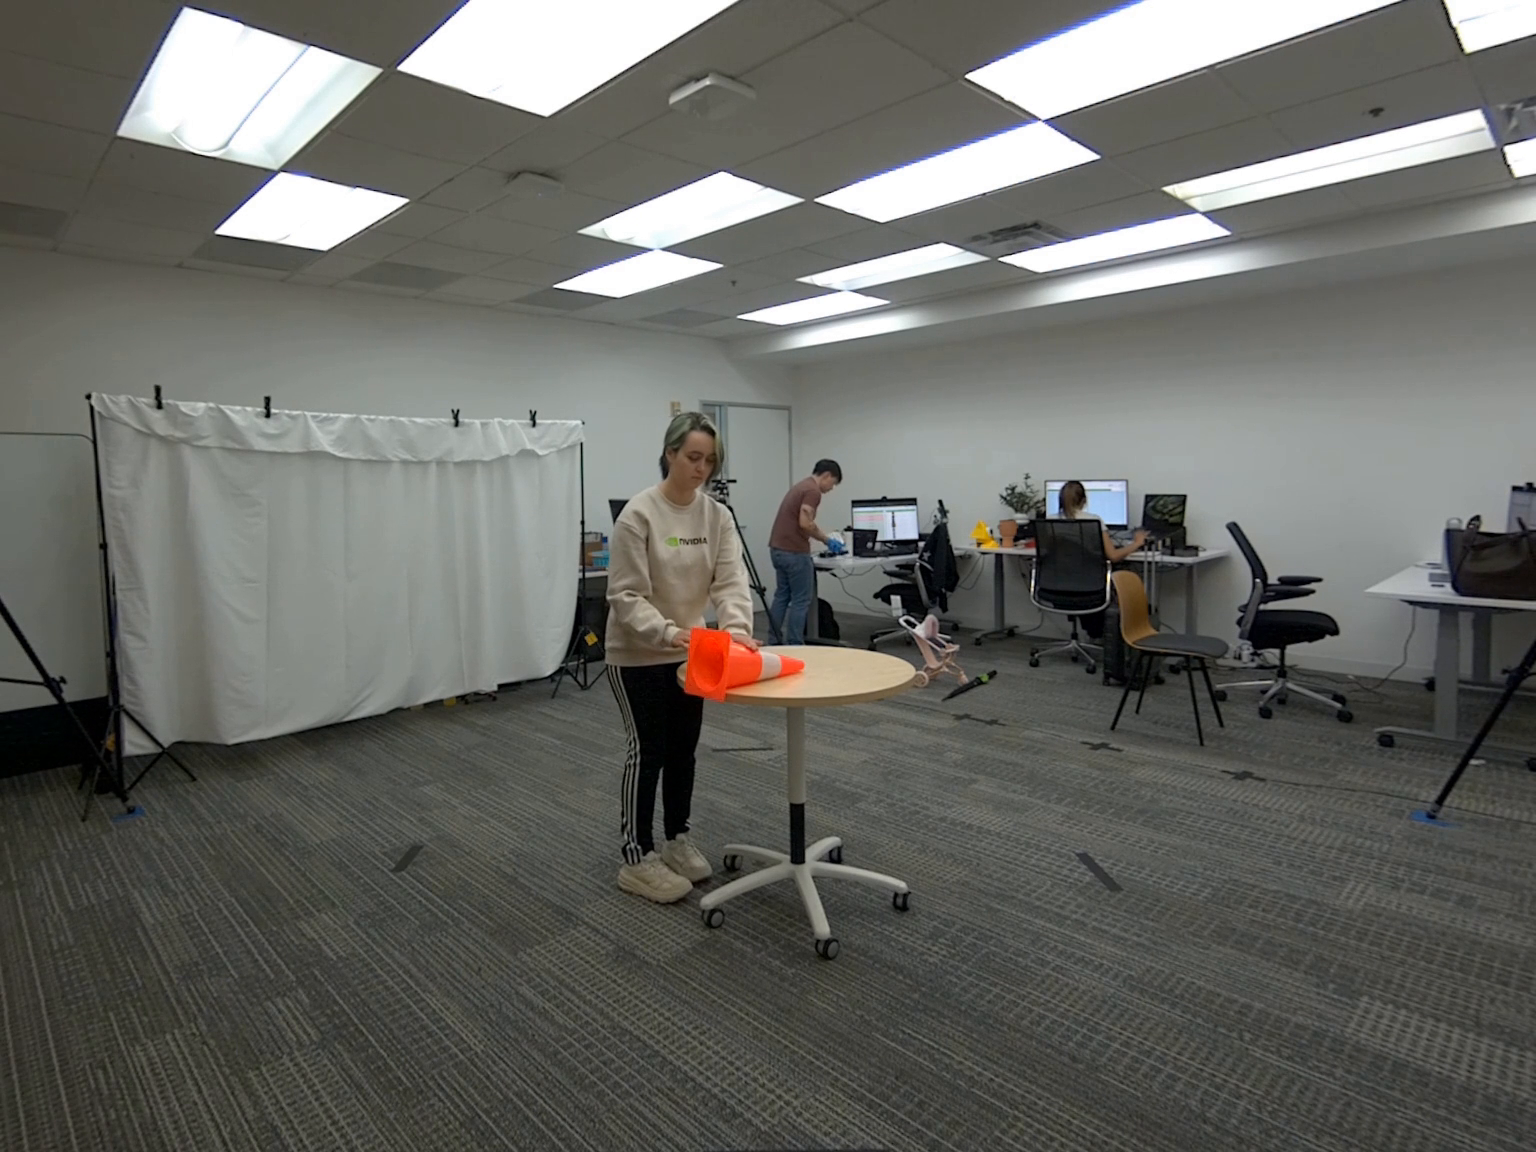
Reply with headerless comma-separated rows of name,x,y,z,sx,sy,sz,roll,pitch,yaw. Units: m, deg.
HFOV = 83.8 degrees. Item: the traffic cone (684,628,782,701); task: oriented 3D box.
traffic cone,-0.031,0.271,2.604,0.371,0.206,0.208,7,-8,-41
